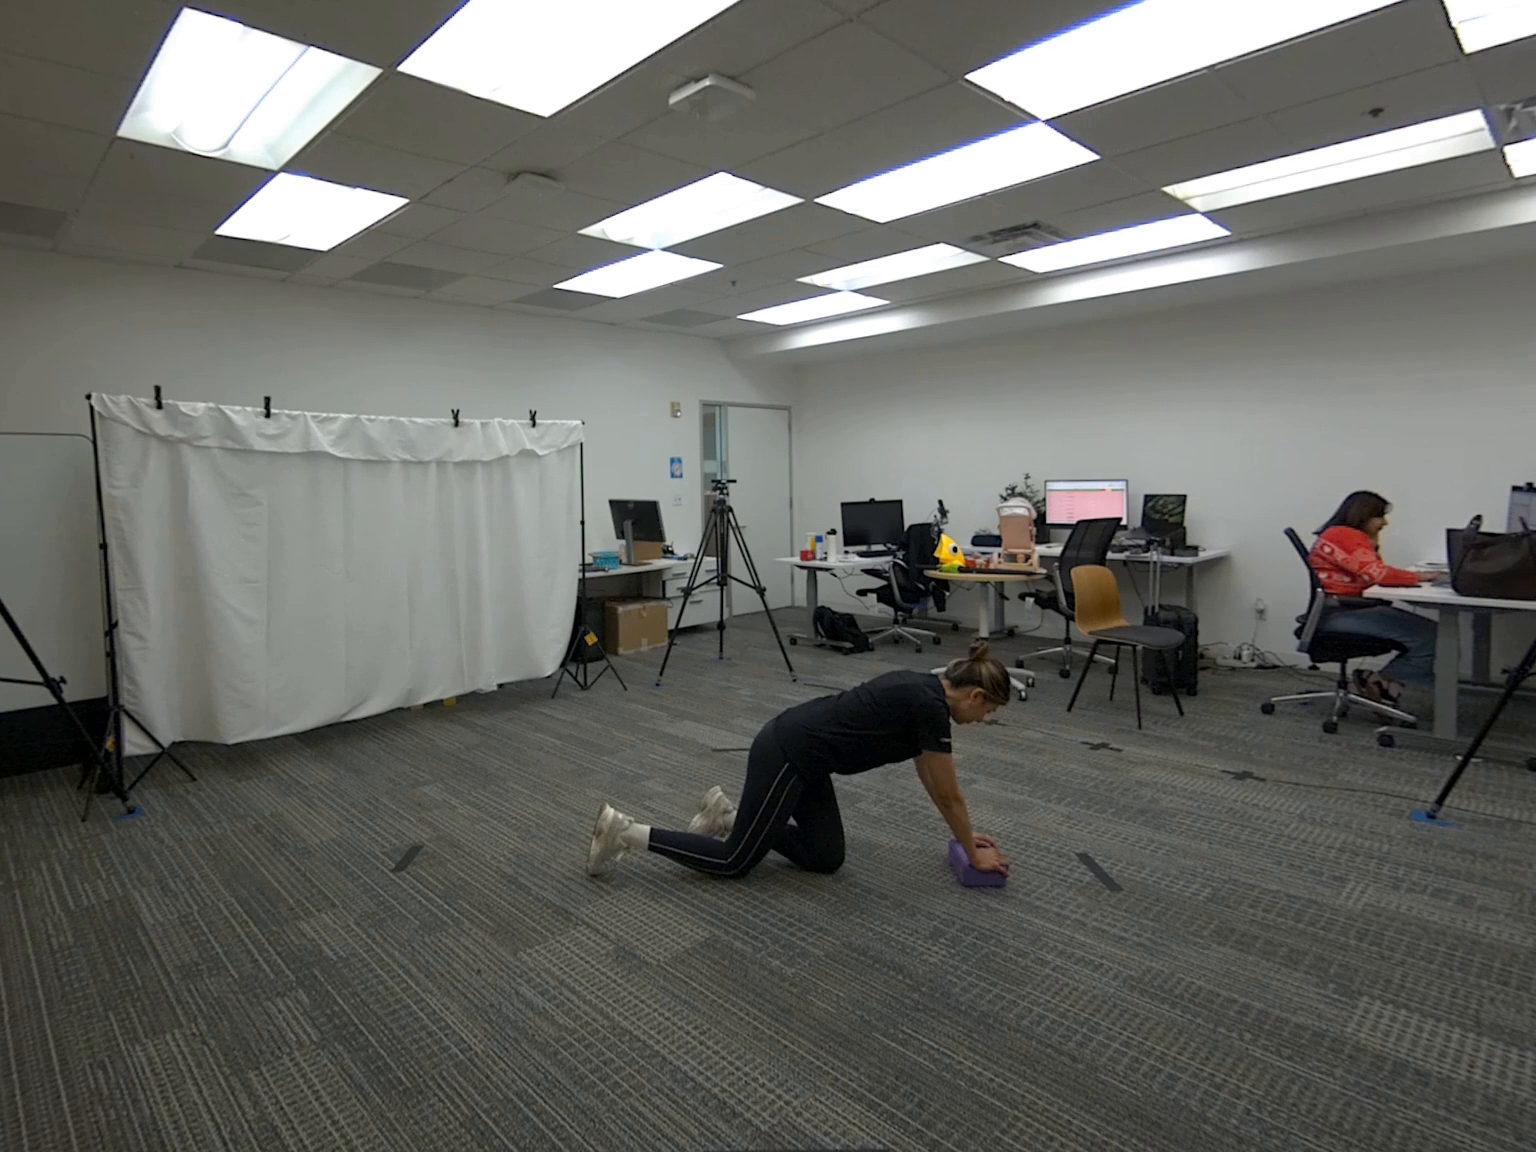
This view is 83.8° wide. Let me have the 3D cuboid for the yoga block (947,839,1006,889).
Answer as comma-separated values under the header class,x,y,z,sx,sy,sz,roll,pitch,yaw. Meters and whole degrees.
class,x,y,z,sx,sy,sz,roll,pitch,yaw
yoga block,0.731,0.998,3.002,0.149,0.076,0.230,3,6,0
